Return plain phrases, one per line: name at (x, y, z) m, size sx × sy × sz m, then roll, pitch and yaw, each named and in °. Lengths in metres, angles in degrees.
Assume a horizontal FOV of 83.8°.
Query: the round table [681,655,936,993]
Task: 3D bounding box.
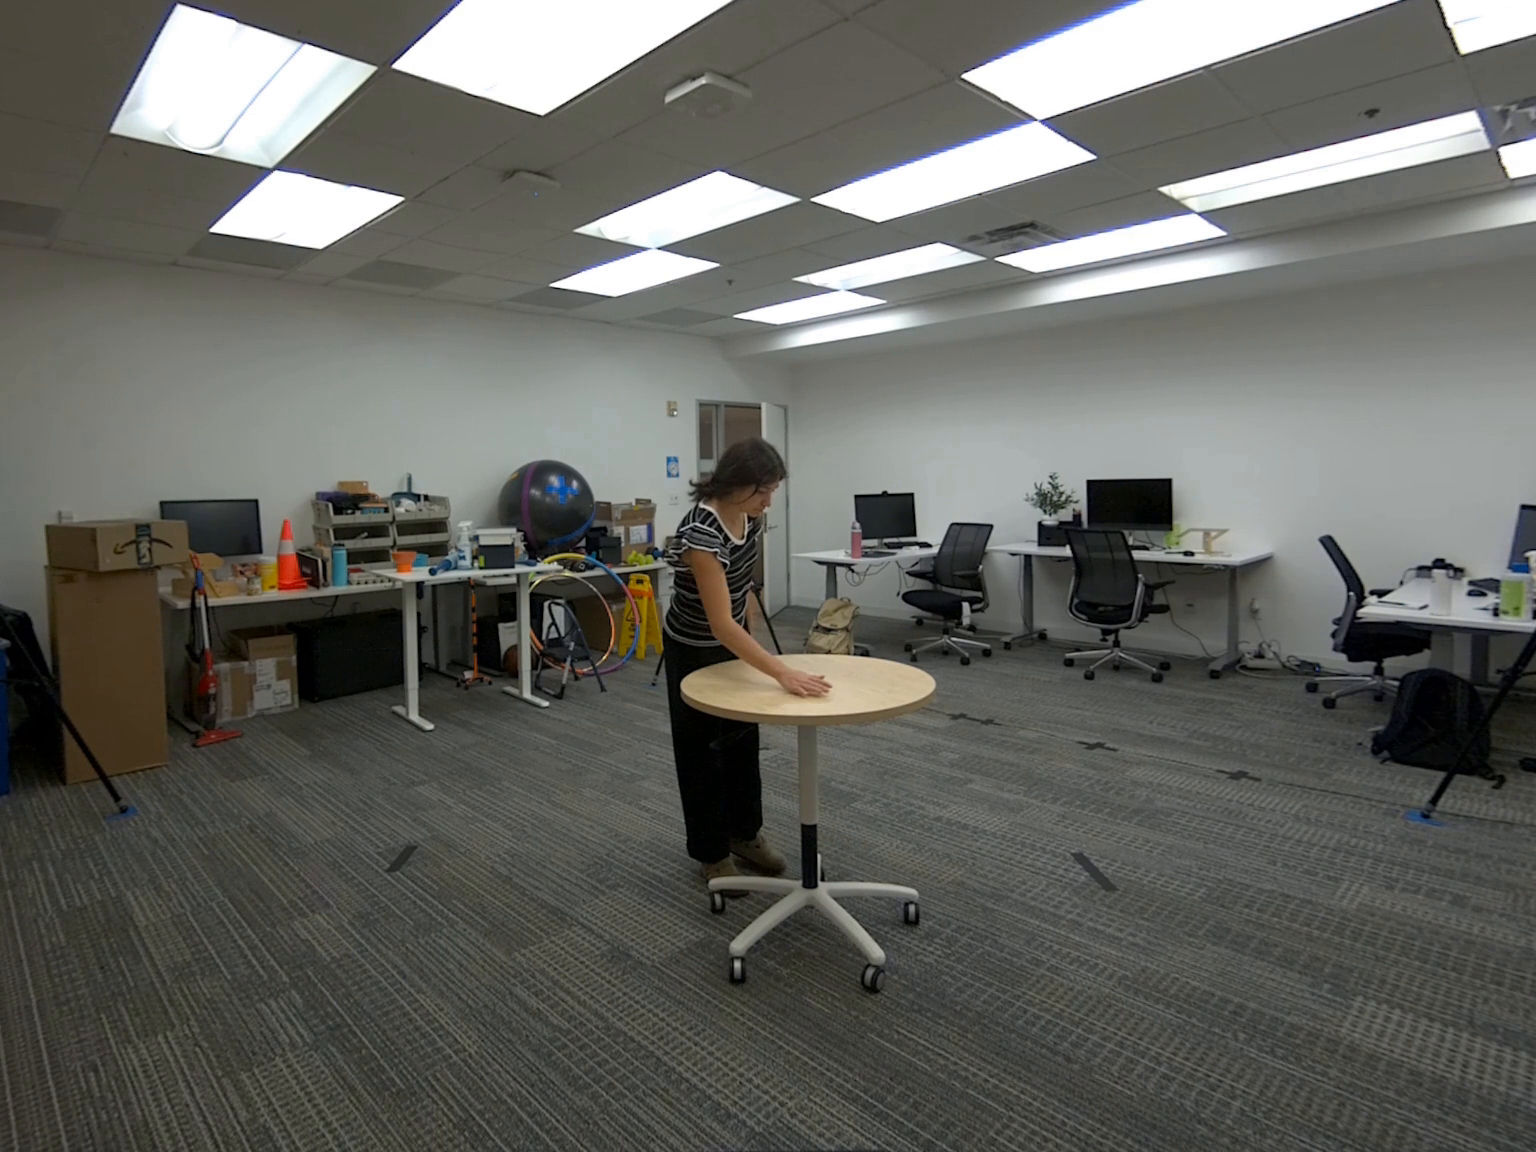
round table at (0.135, 0.712, 2.615) m, size 0.763 × 0.791 × 0.768 m, roll -2°, pitch 5°, yaw -2°
